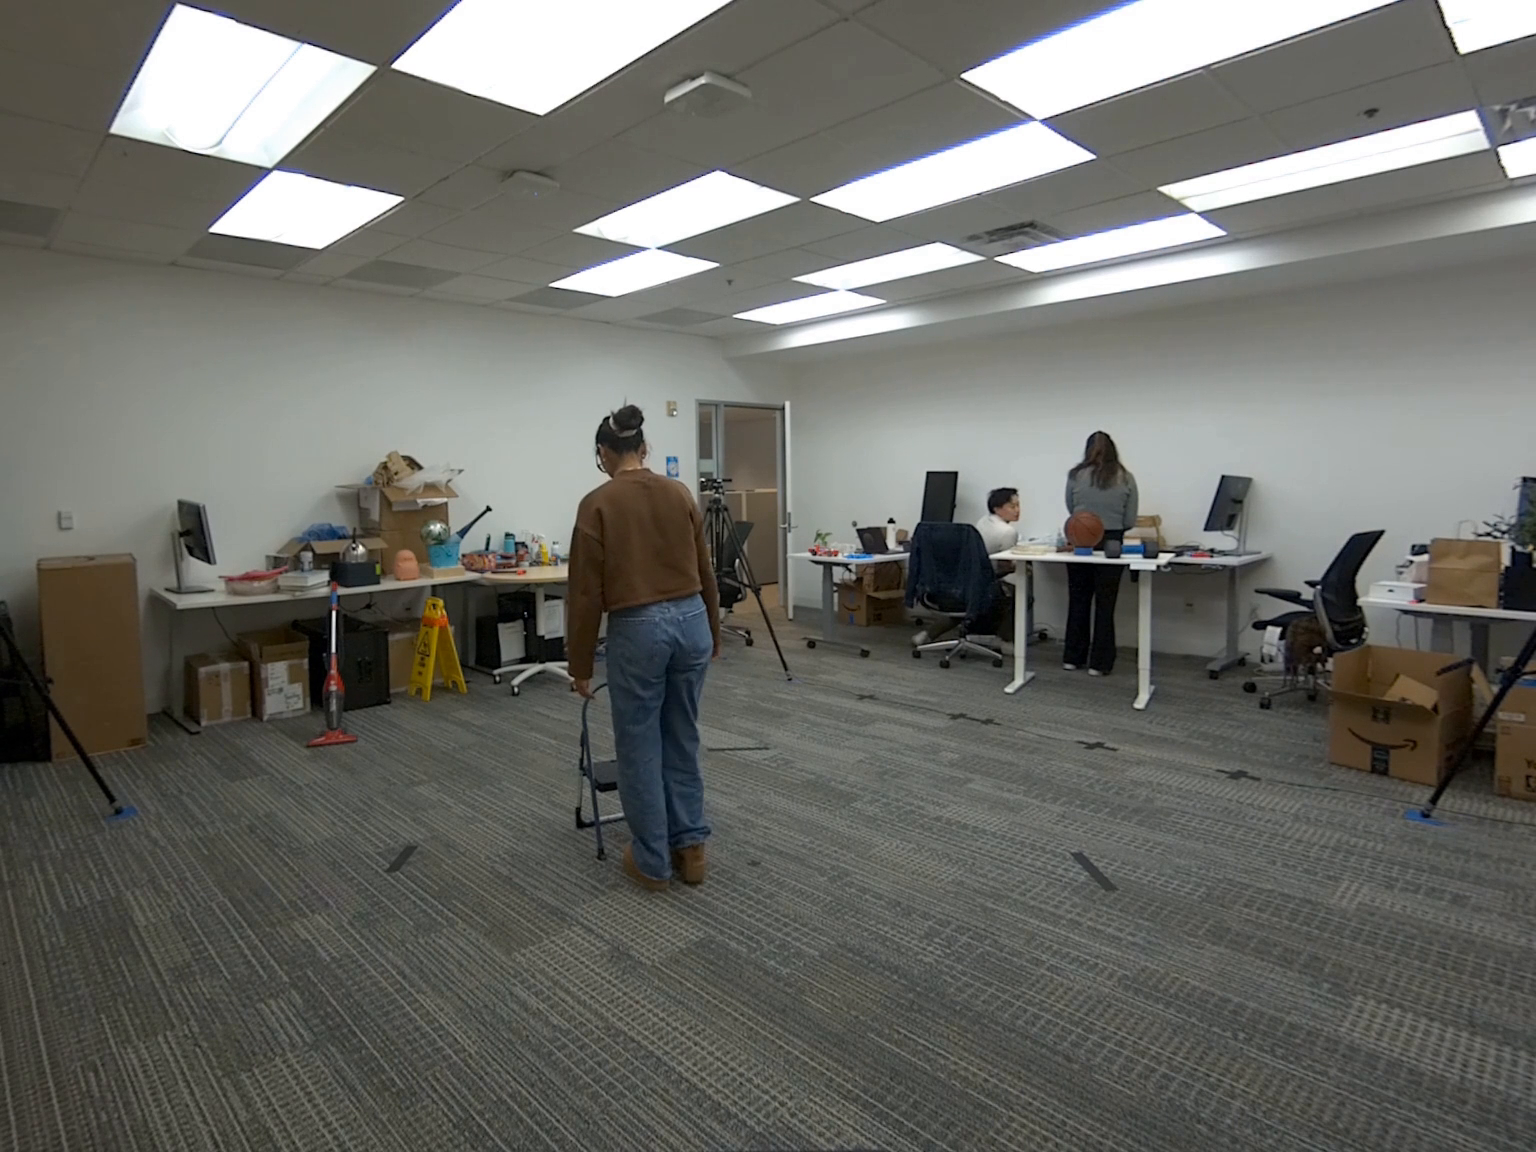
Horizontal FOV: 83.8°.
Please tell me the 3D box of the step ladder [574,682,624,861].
[{"bbox_3d":[-0.521,0.719,3.380,0.421,0.604,0.358,-4,5,-27],"label":"step ladder"}]
